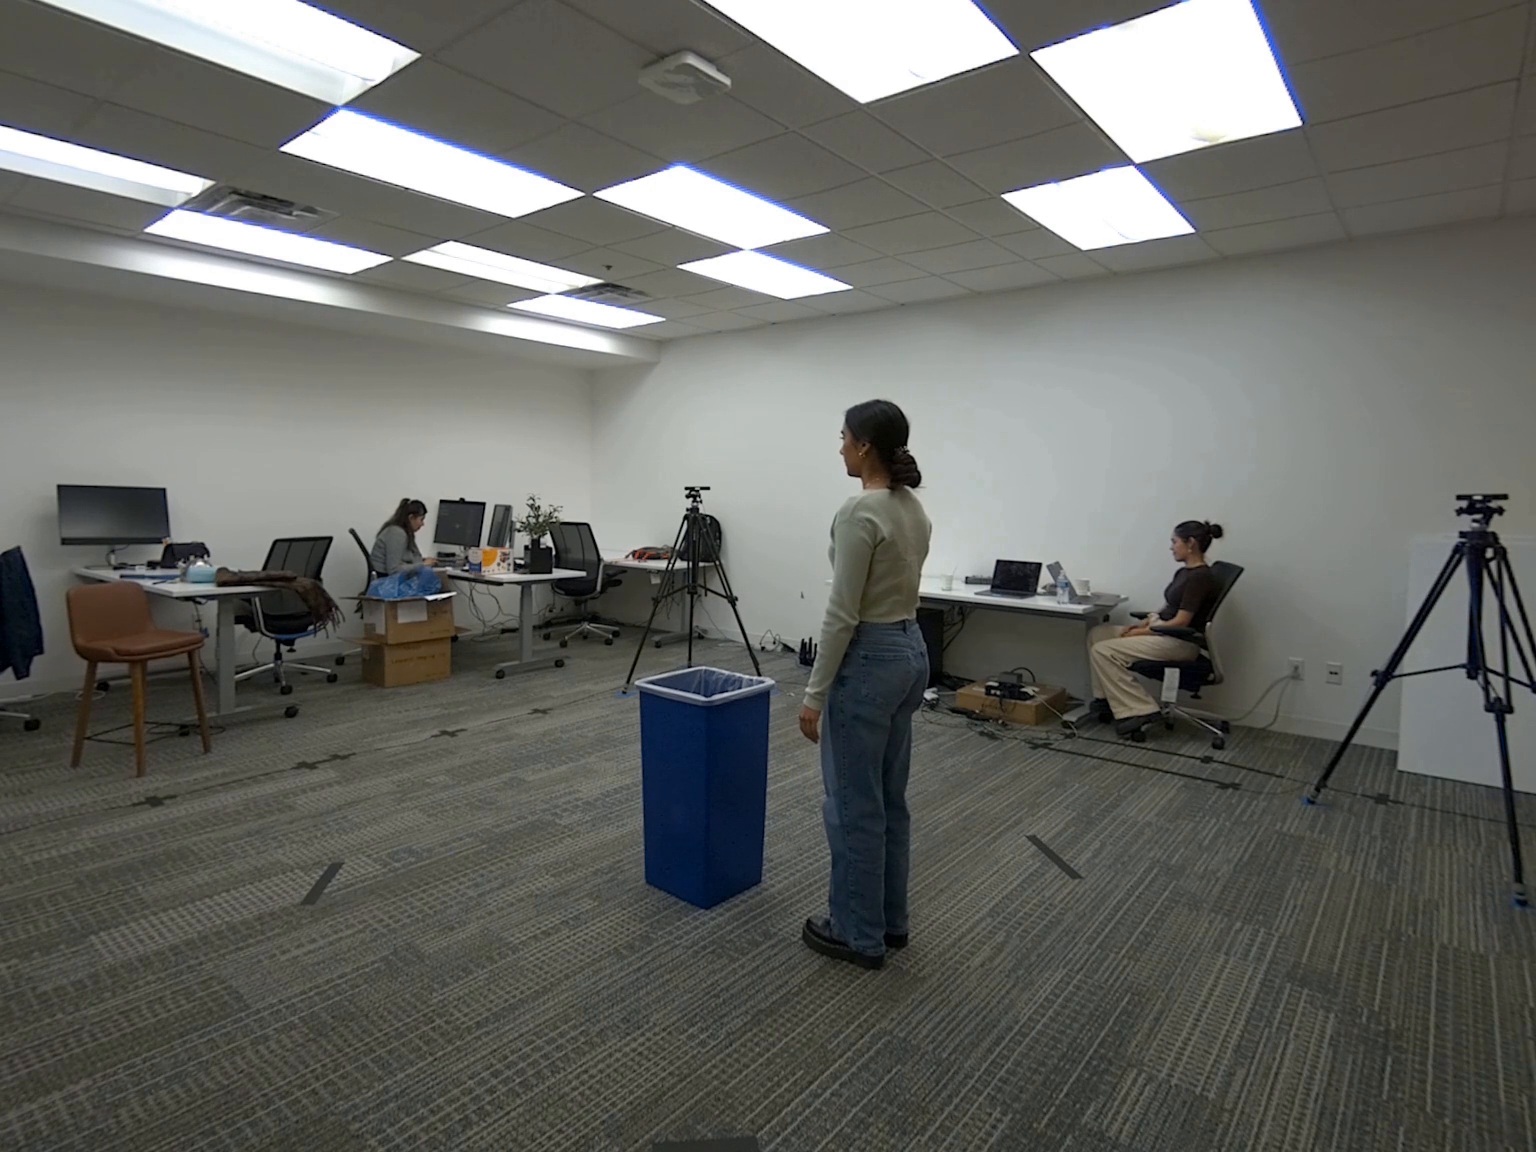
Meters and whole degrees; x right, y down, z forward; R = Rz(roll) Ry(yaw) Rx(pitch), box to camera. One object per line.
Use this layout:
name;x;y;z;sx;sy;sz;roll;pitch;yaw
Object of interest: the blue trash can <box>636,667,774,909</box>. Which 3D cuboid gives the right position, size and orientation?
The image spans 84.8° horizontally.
blue trash can;-0.232;0.719;2.975;0.391;0.712;0.363;3;4;41
